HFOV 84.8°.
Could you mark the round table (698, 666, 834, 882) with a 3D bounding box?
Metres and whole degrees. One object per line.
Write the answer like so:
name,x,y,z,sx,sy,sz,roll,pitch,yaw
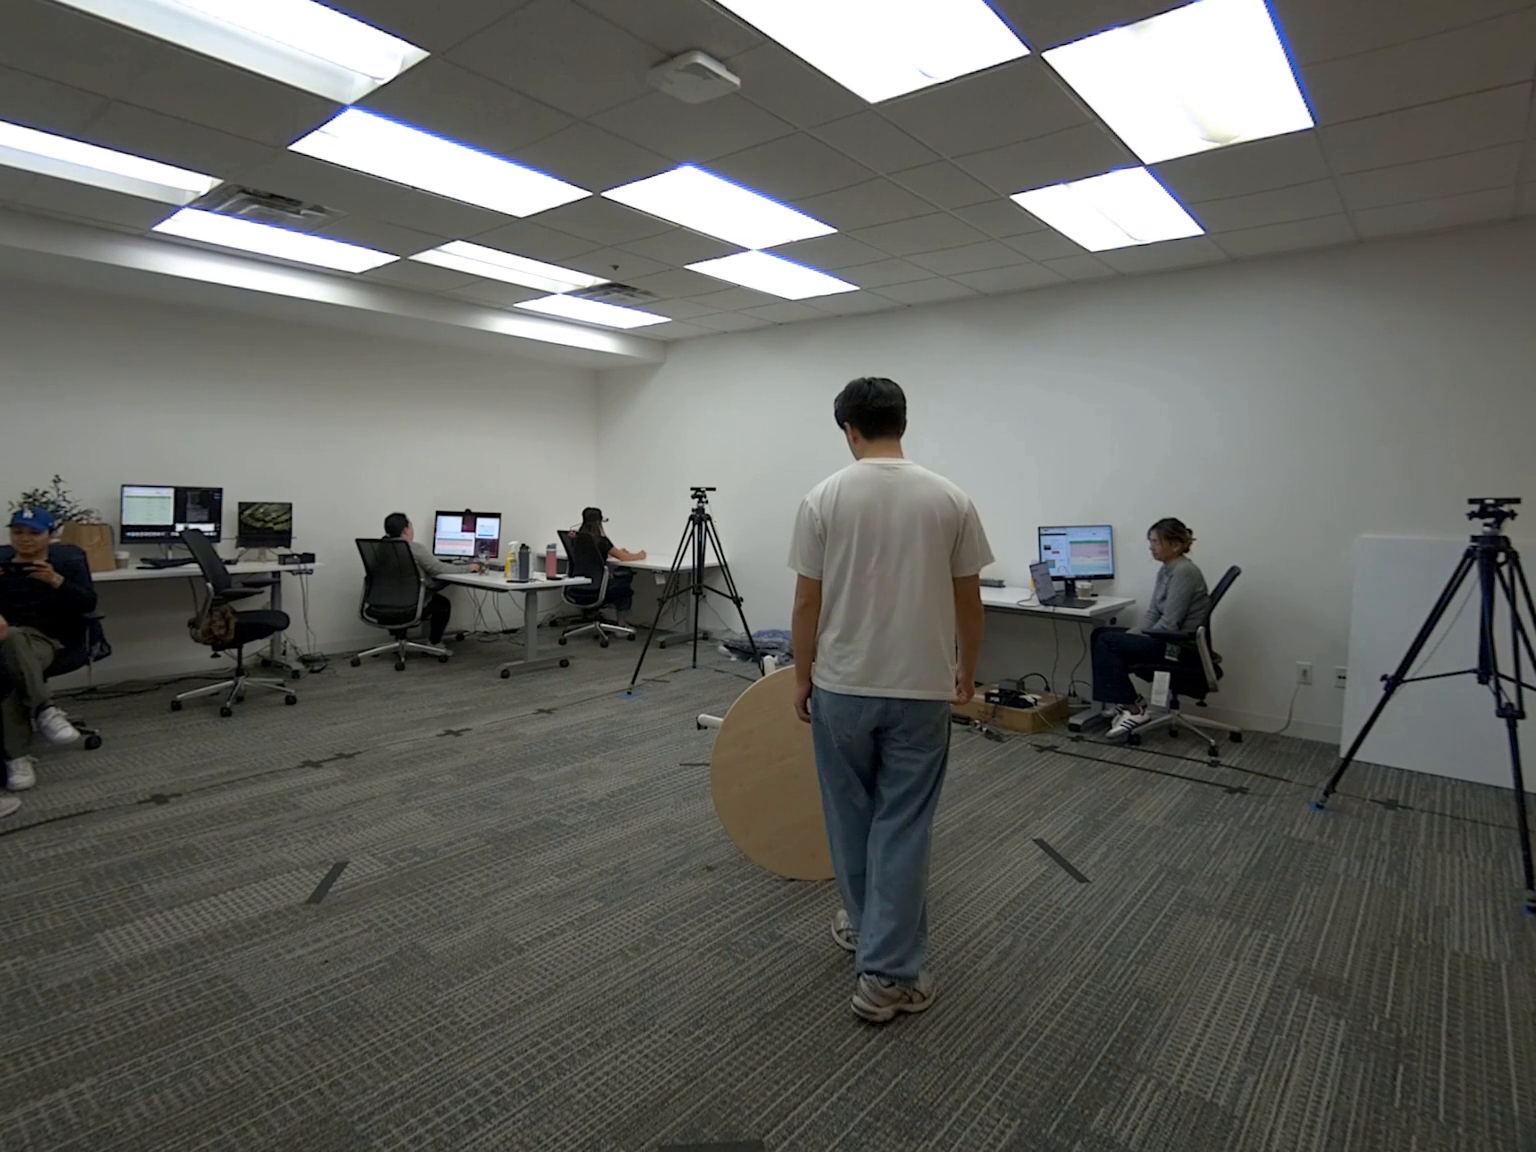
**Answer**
round table,0.080,0.691,3.440,0.777,0.787,0.793,0,-2,-10
